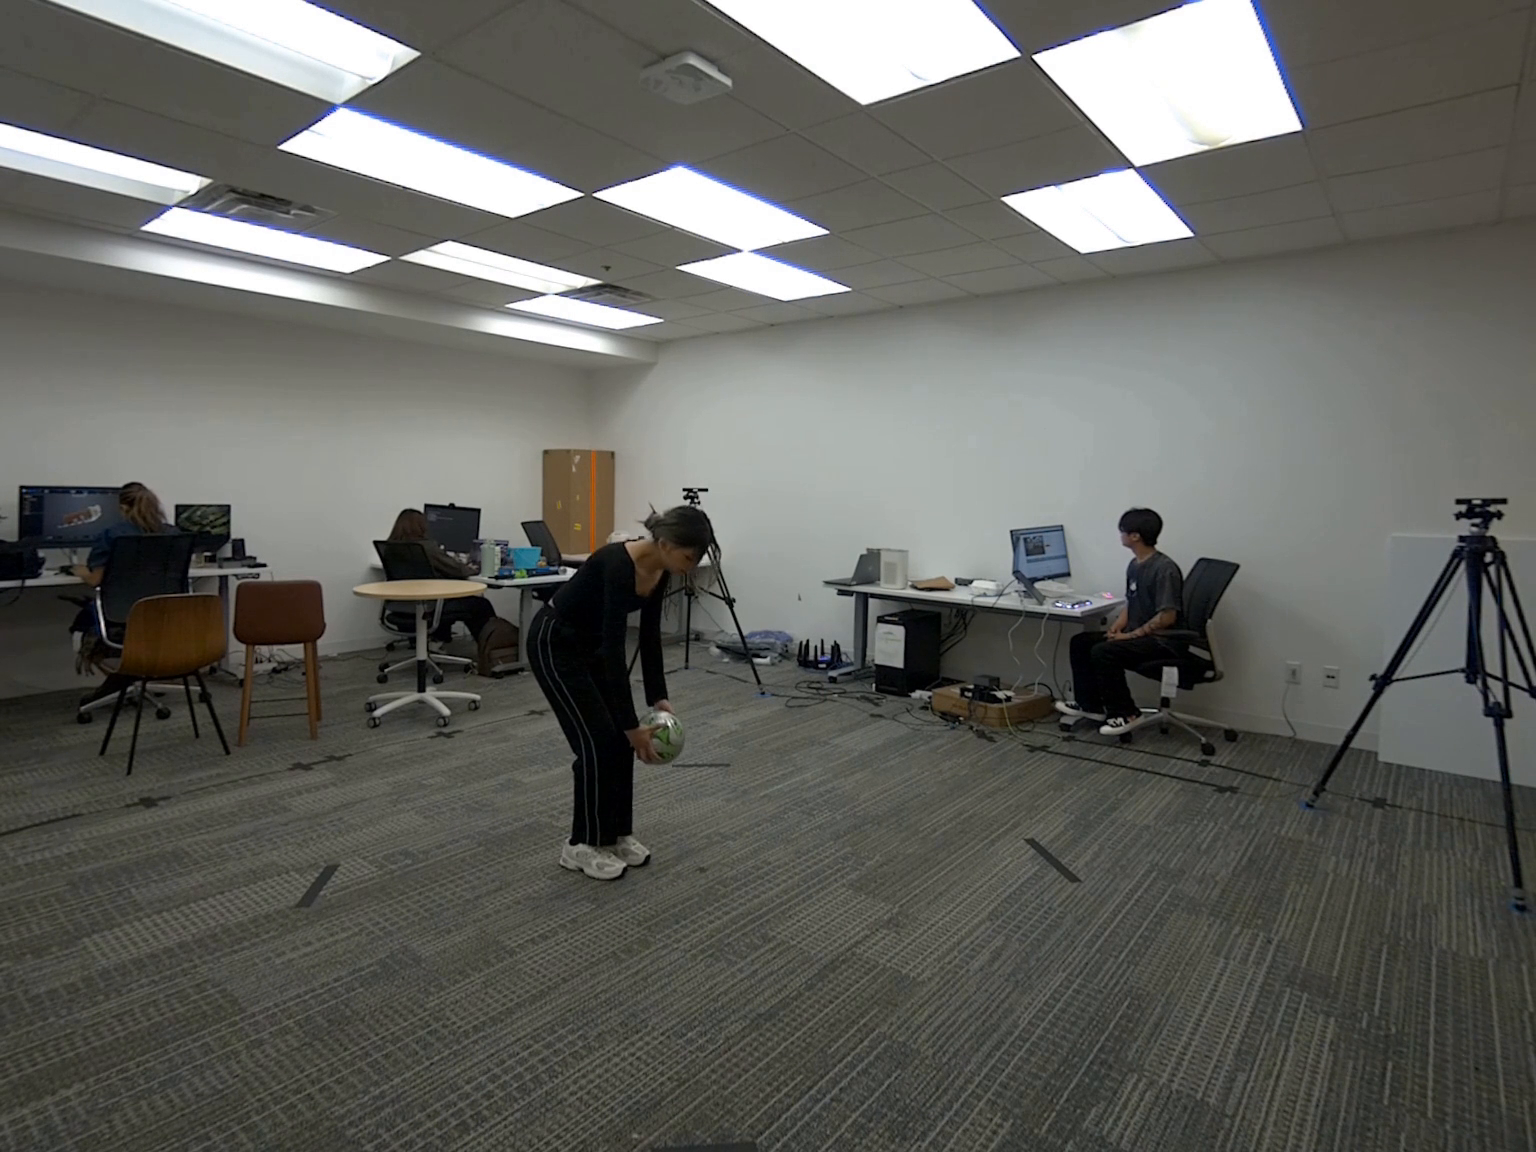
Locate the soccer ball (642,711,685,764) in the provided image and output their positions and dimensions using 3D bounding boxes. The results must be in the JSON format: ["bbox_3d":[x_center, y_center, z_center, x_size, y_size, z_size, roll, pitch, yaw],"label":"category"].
[{"bbox_3d":[-0.399,0.563,3.007,0.187,0.187,0.188,1,4,-2],"label":"soccer ball"}]
